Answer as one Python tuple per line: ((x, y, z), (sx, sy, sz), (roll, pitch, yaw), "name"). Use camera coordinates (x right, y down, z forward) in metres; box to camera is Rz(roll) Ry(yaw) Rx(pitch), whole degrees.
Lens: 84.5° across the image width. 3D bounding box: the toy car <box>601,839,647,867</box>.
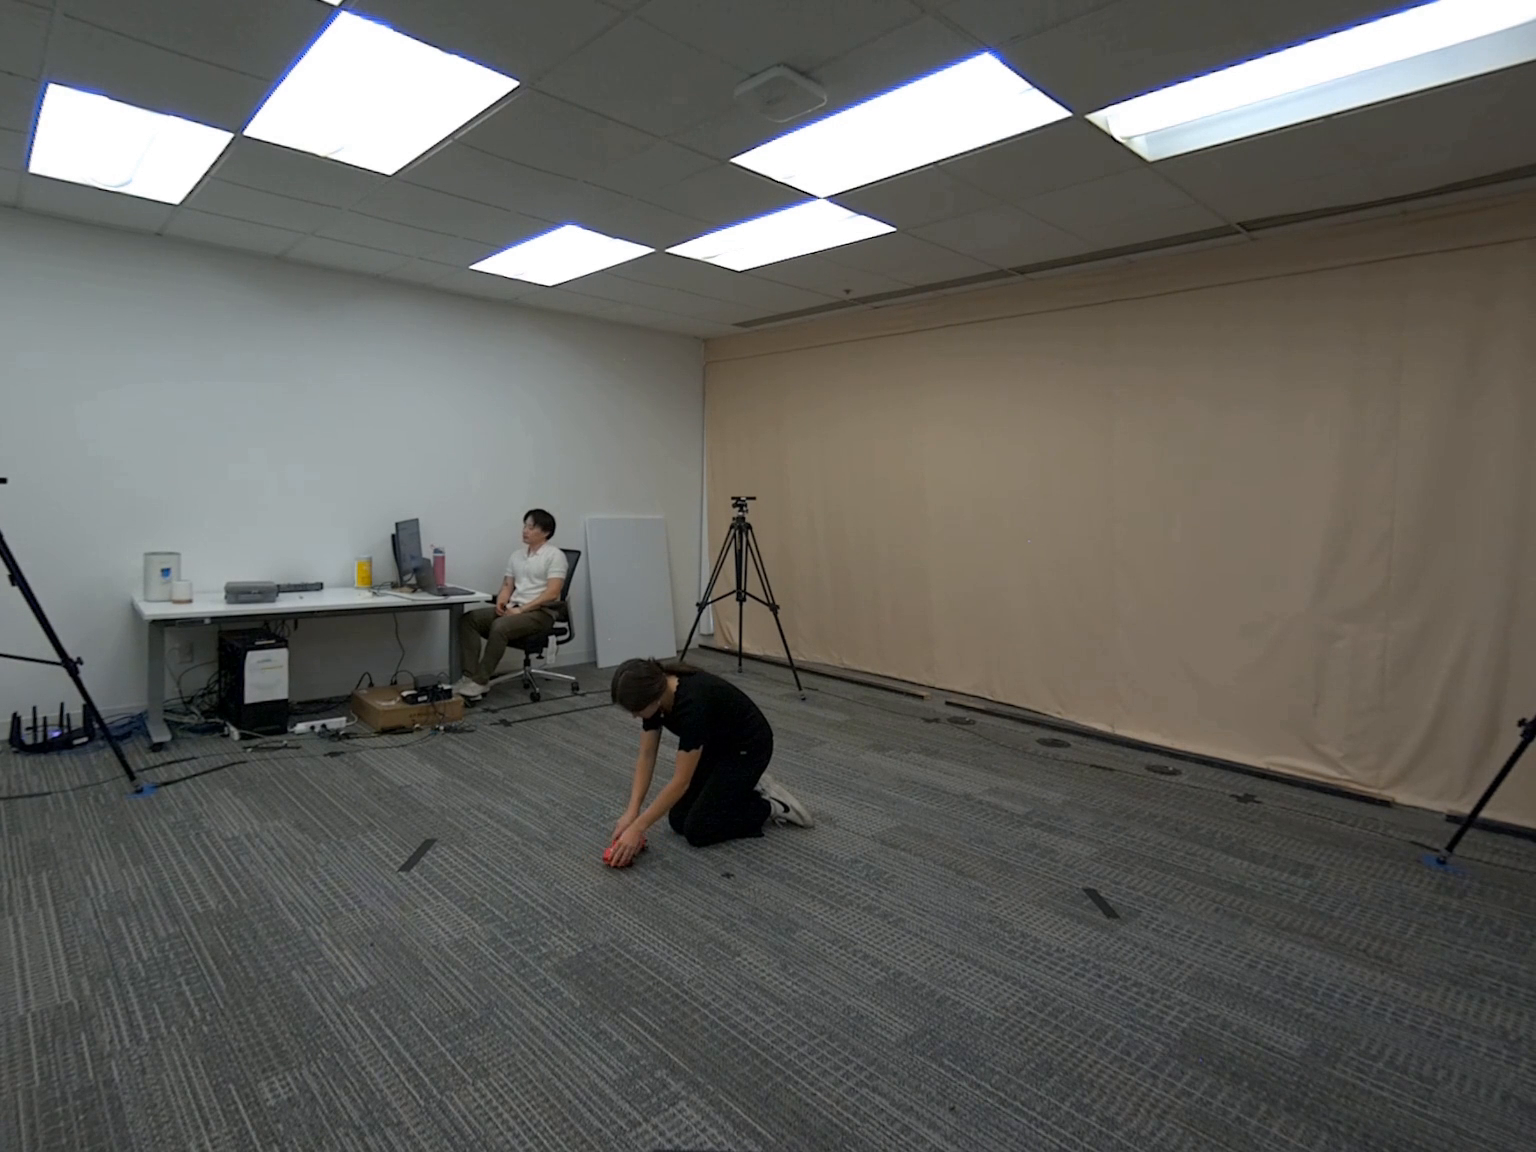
((-0.562, 1.061, 3.224), (0.131, 0.083, 0.251), (2, -5, 10), "toy car")
